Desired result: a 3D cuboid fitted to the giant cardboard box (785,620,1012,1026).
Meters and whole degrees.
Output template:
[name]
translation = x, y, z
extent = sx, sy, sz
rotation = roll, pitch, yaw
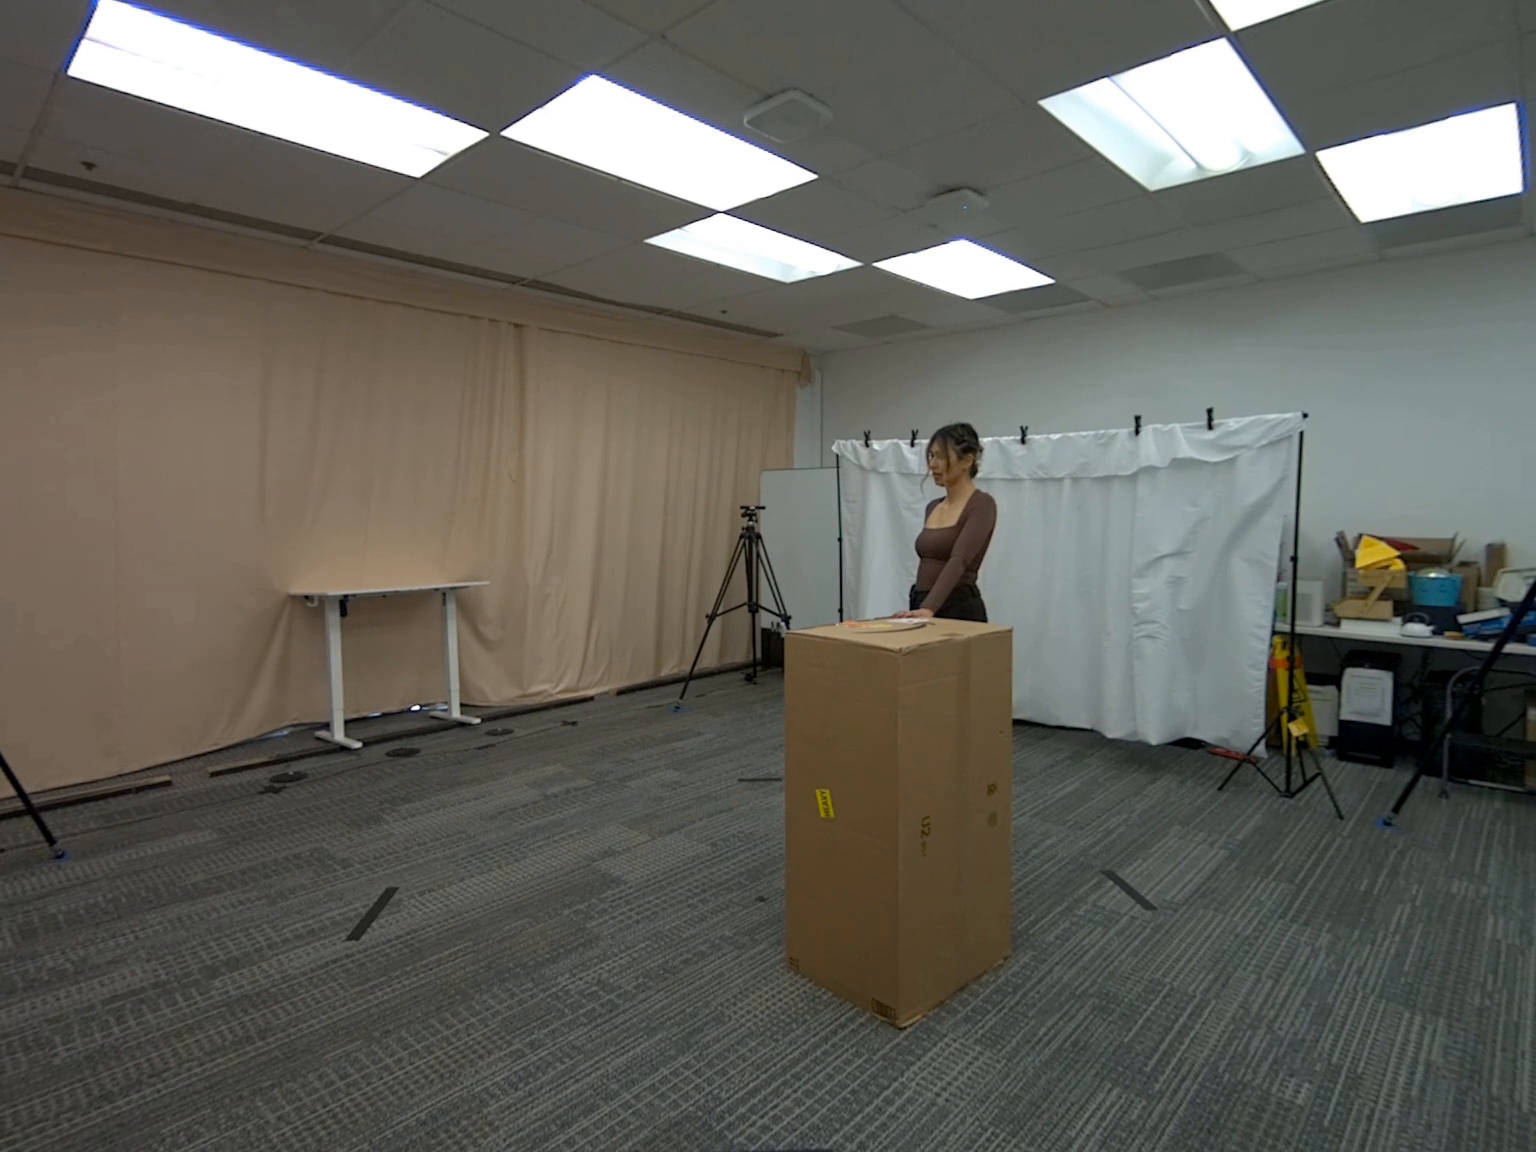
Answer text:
[giant cardboard box]
translation = 0.404, 0.670, 2.553
extent = 0.566, 1.025, 0.461
rotation = -3, 3, -41
